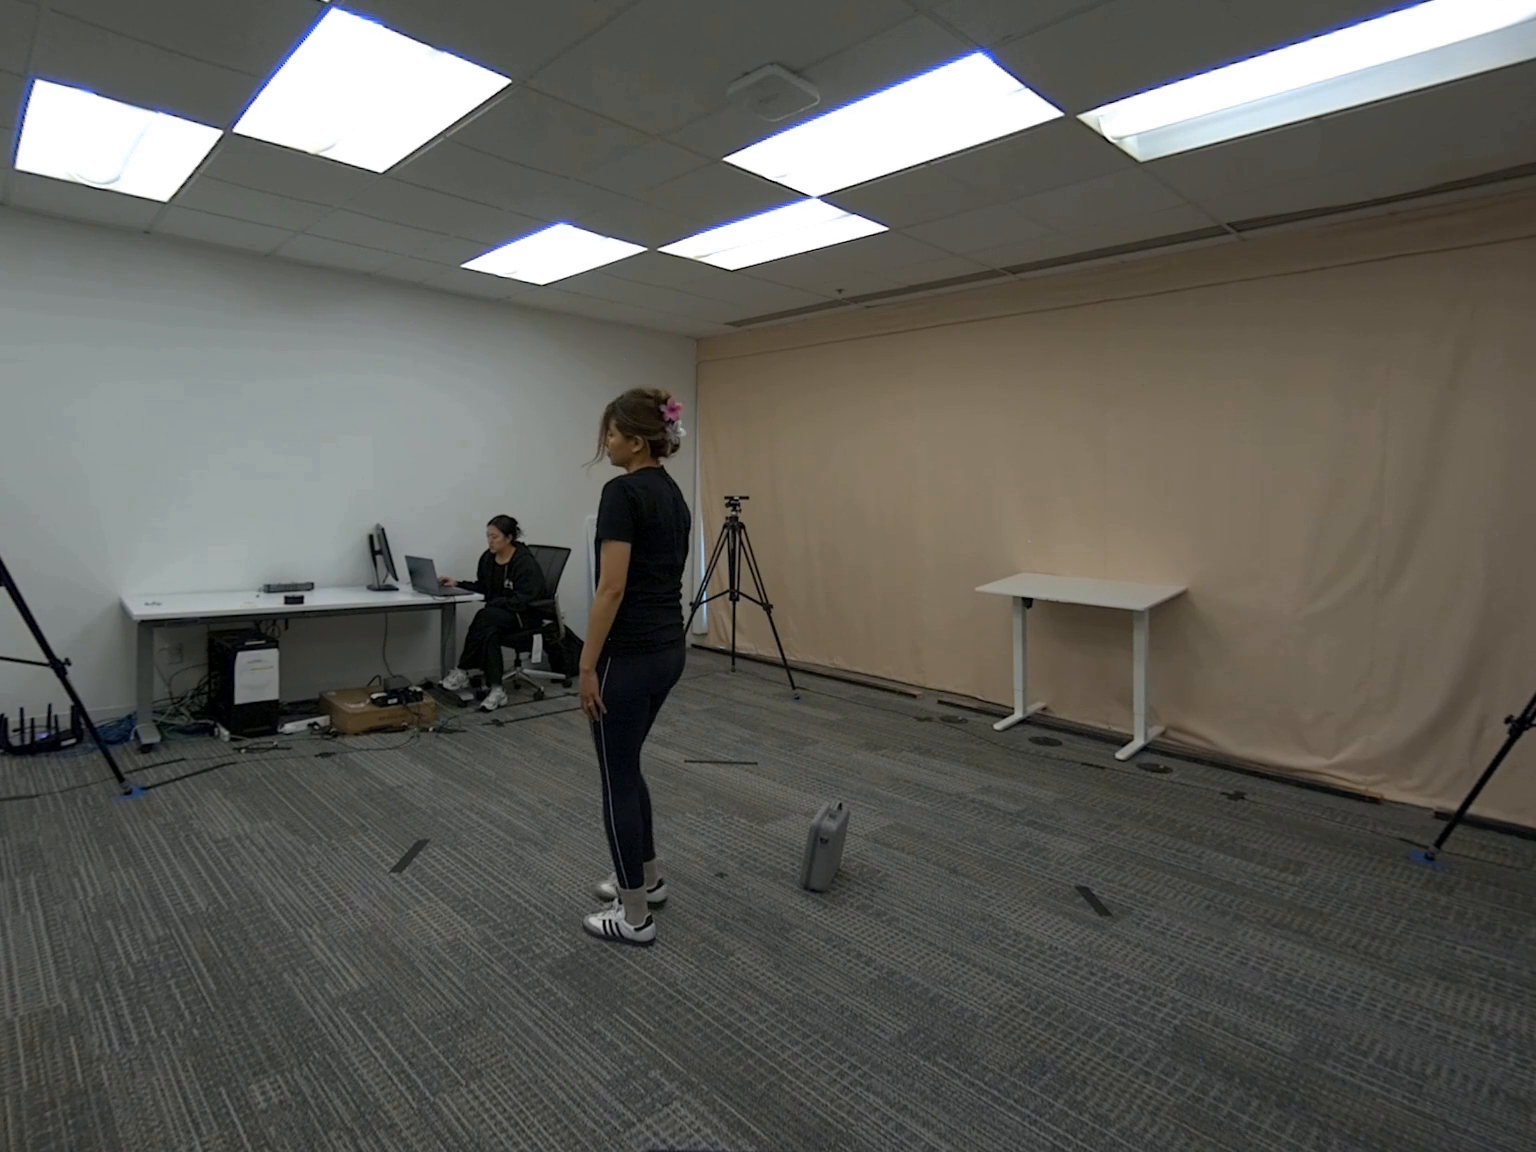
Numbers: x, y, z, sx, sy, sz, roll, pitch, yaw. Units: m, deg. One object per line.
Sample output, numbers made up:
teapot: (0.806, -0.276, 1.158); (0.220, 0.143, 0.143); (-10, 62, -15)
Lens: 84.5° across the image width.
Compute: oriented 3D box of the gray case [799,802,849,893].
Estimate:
gray case: (0.204, 0.980, 3.080); (0.106, 0.259, 0.254); (10, 7, 18)
